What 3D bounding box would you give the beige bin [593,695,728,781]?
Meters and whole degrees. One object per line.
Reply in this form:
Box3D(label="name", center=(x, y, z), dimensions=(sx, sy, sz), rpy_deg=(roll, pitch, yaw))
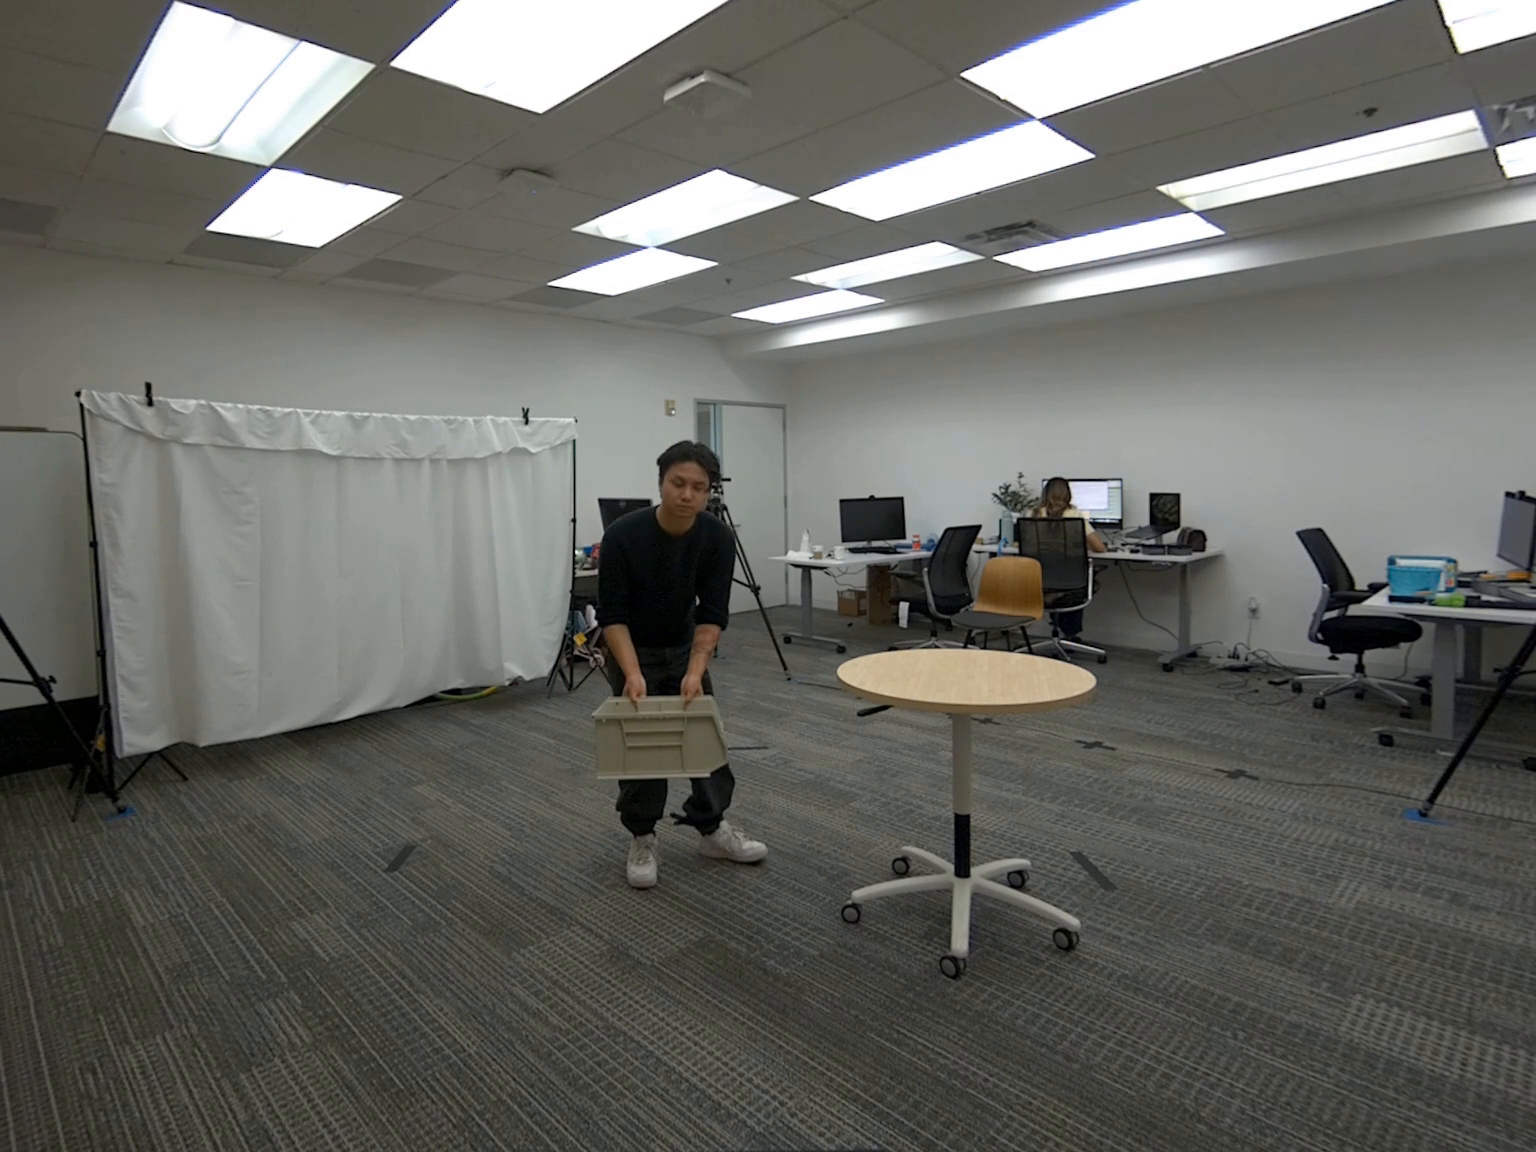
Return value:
Box3D(label="beige bin", center=(-0.308, 0.480, 2.570), dimensions=(0.376, 0.189, 0.423), rpy_deg=(-4, -2, -5))
